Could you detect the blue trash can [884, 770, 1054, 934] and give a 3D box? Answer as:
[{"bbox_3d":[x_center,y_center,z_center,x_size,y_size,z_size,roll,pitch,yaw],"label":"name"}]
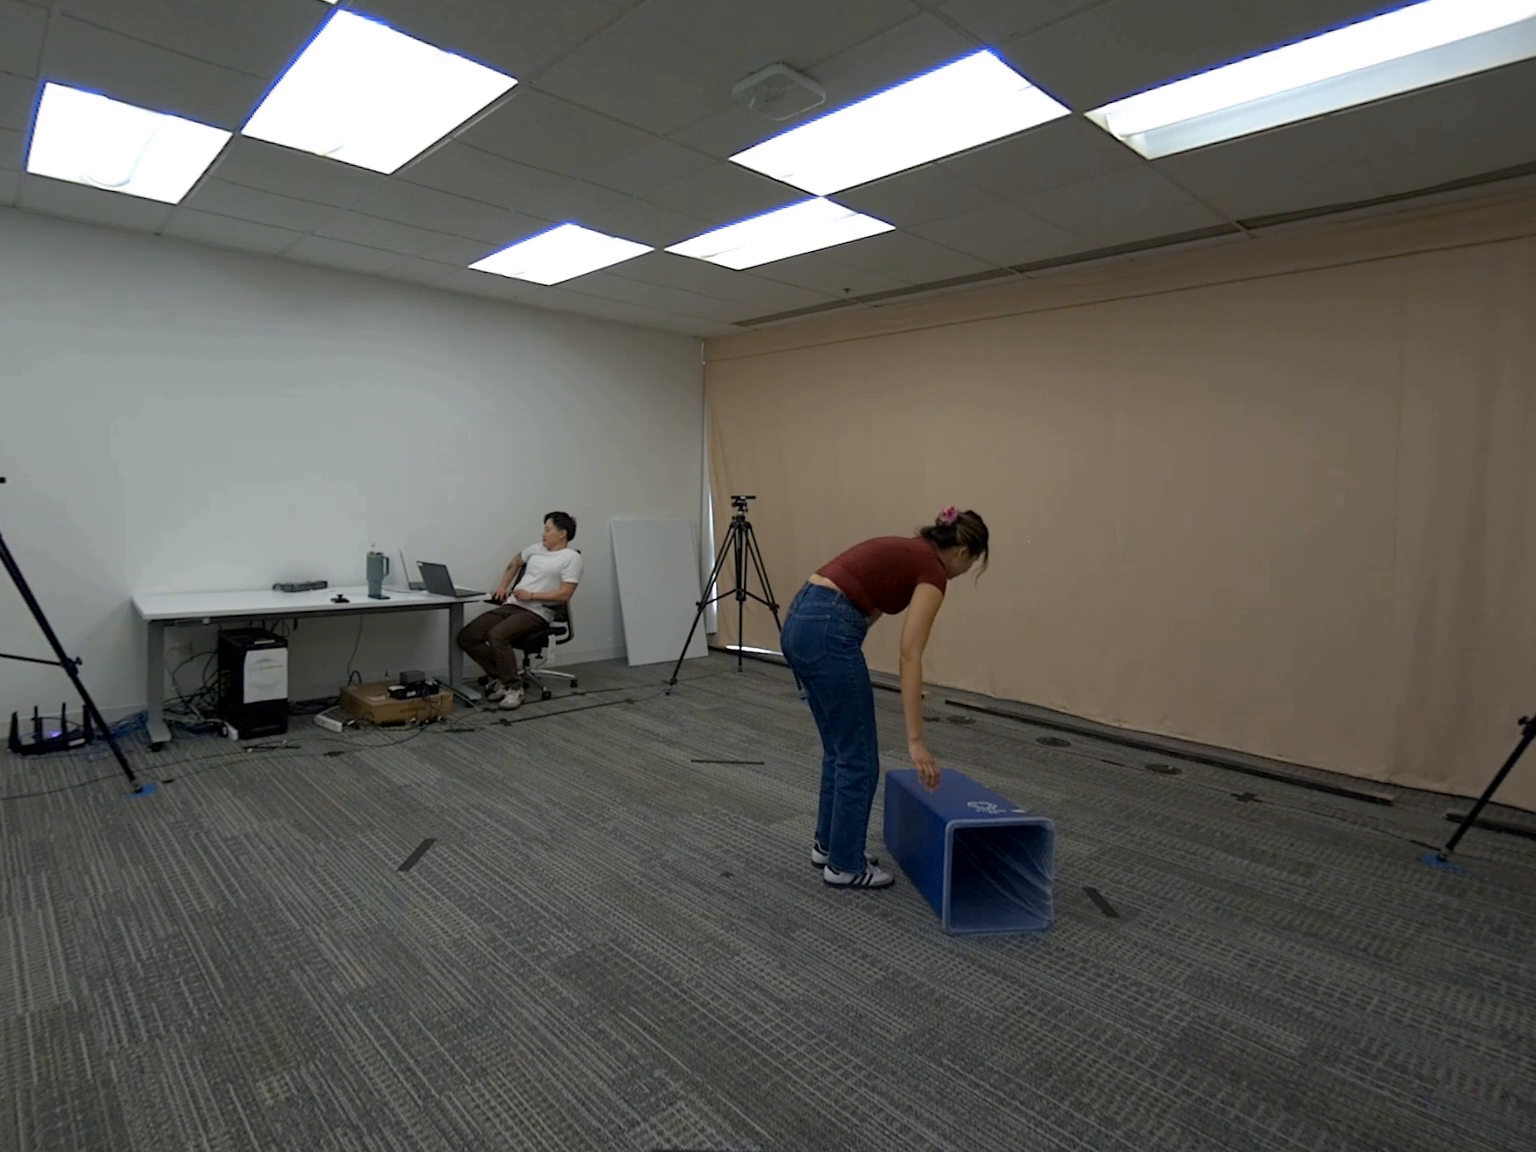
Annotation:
[{"bbox_3d":[0.673,0.958,3.066,0.371,0.377,0.720,1,2,-11],"label":"blue trash can"}]
